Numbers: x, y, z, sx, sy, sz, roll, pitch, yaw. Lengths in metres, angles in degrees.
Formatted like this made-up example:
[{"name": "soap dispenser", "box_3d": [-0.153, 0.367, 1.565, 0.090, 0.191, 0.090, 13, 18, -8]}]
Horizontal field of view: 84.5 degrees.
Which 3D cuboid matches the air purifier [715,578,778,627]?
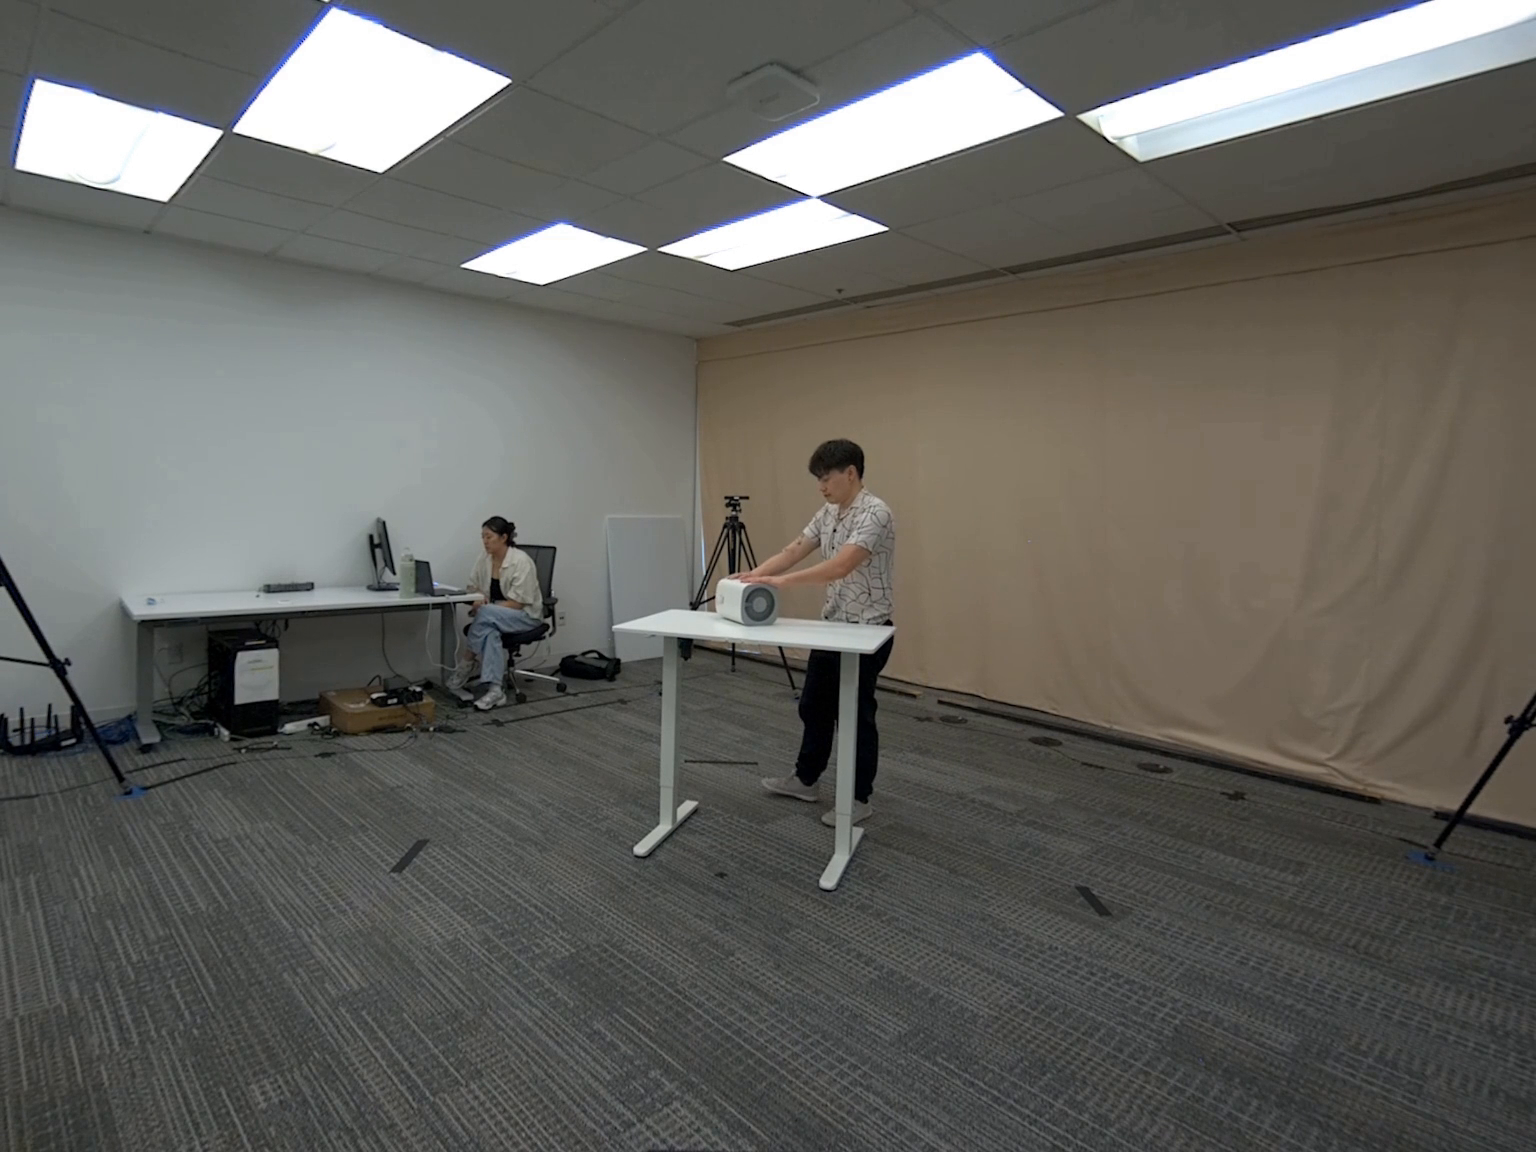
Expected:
[{"name": "air purifier", "box_3d": [-0.102, 0.103, 3.479, 0.168, 0.171, 0.271, 1, 4, -27]}]
